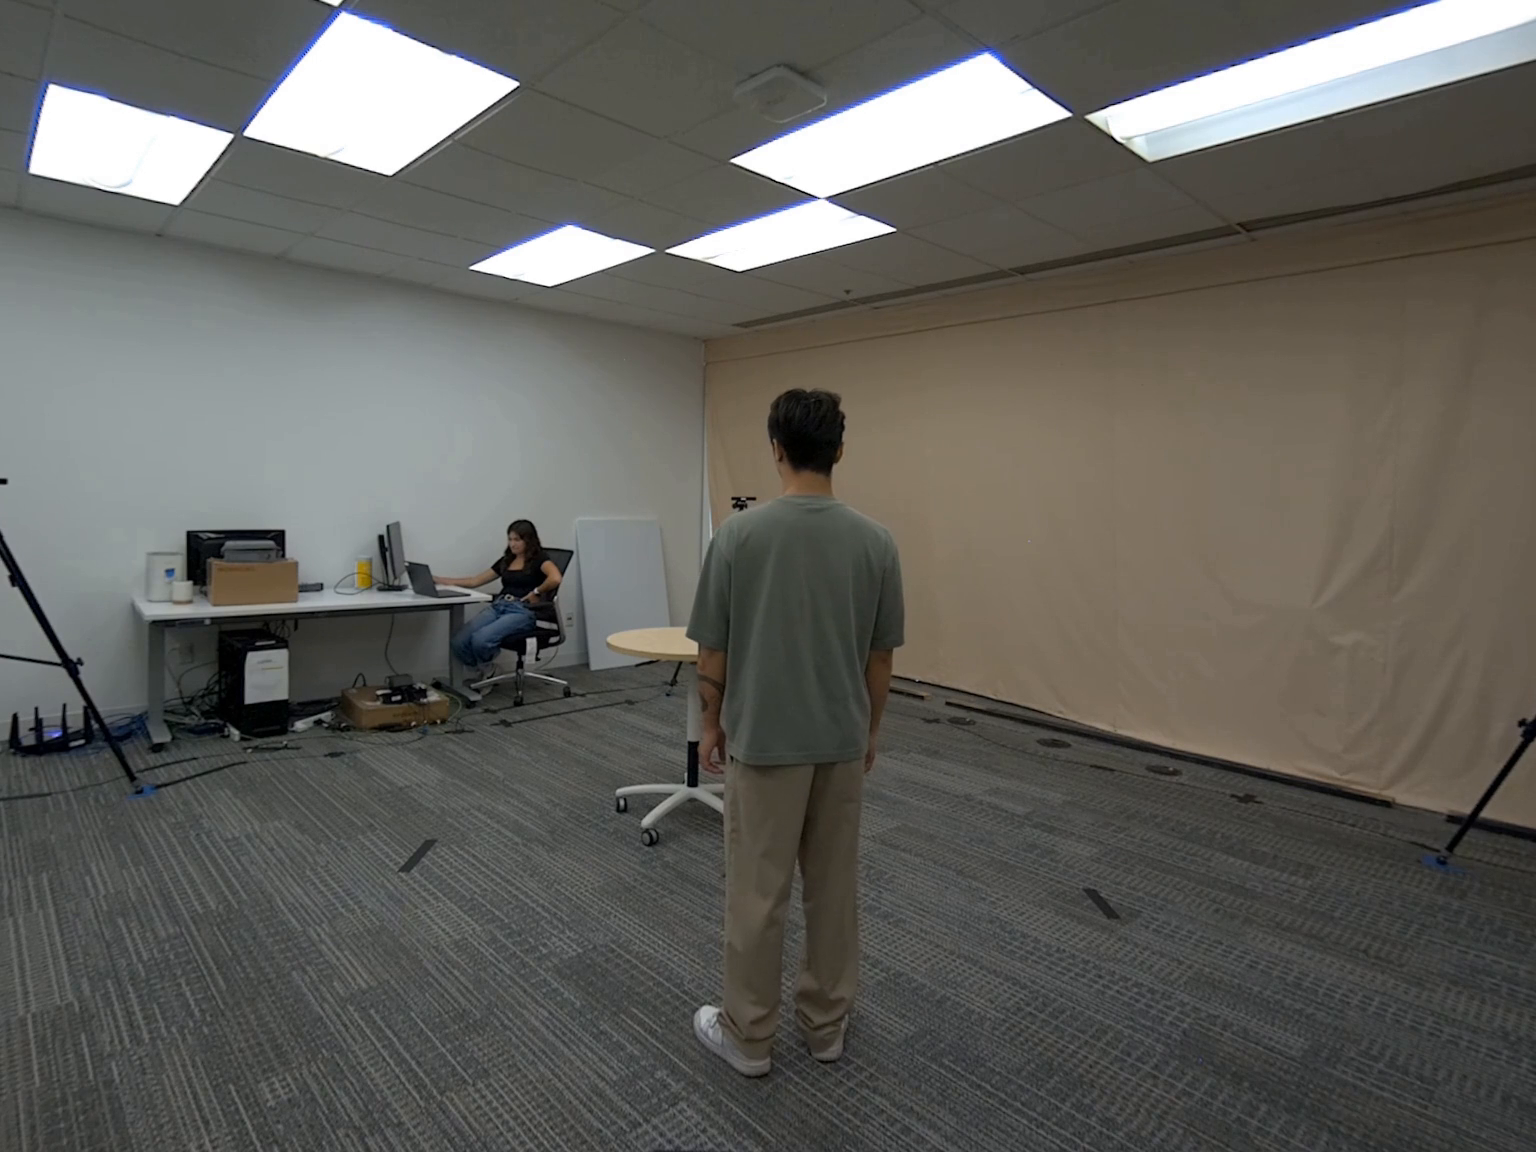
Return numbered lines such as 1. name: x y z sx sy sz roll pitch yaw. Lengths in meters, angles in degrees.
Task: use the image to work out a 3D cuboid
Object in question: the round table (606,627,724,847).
1. round table: -0.339 0.662 3.652 0.784 0.785 0.787 2 3 -1
